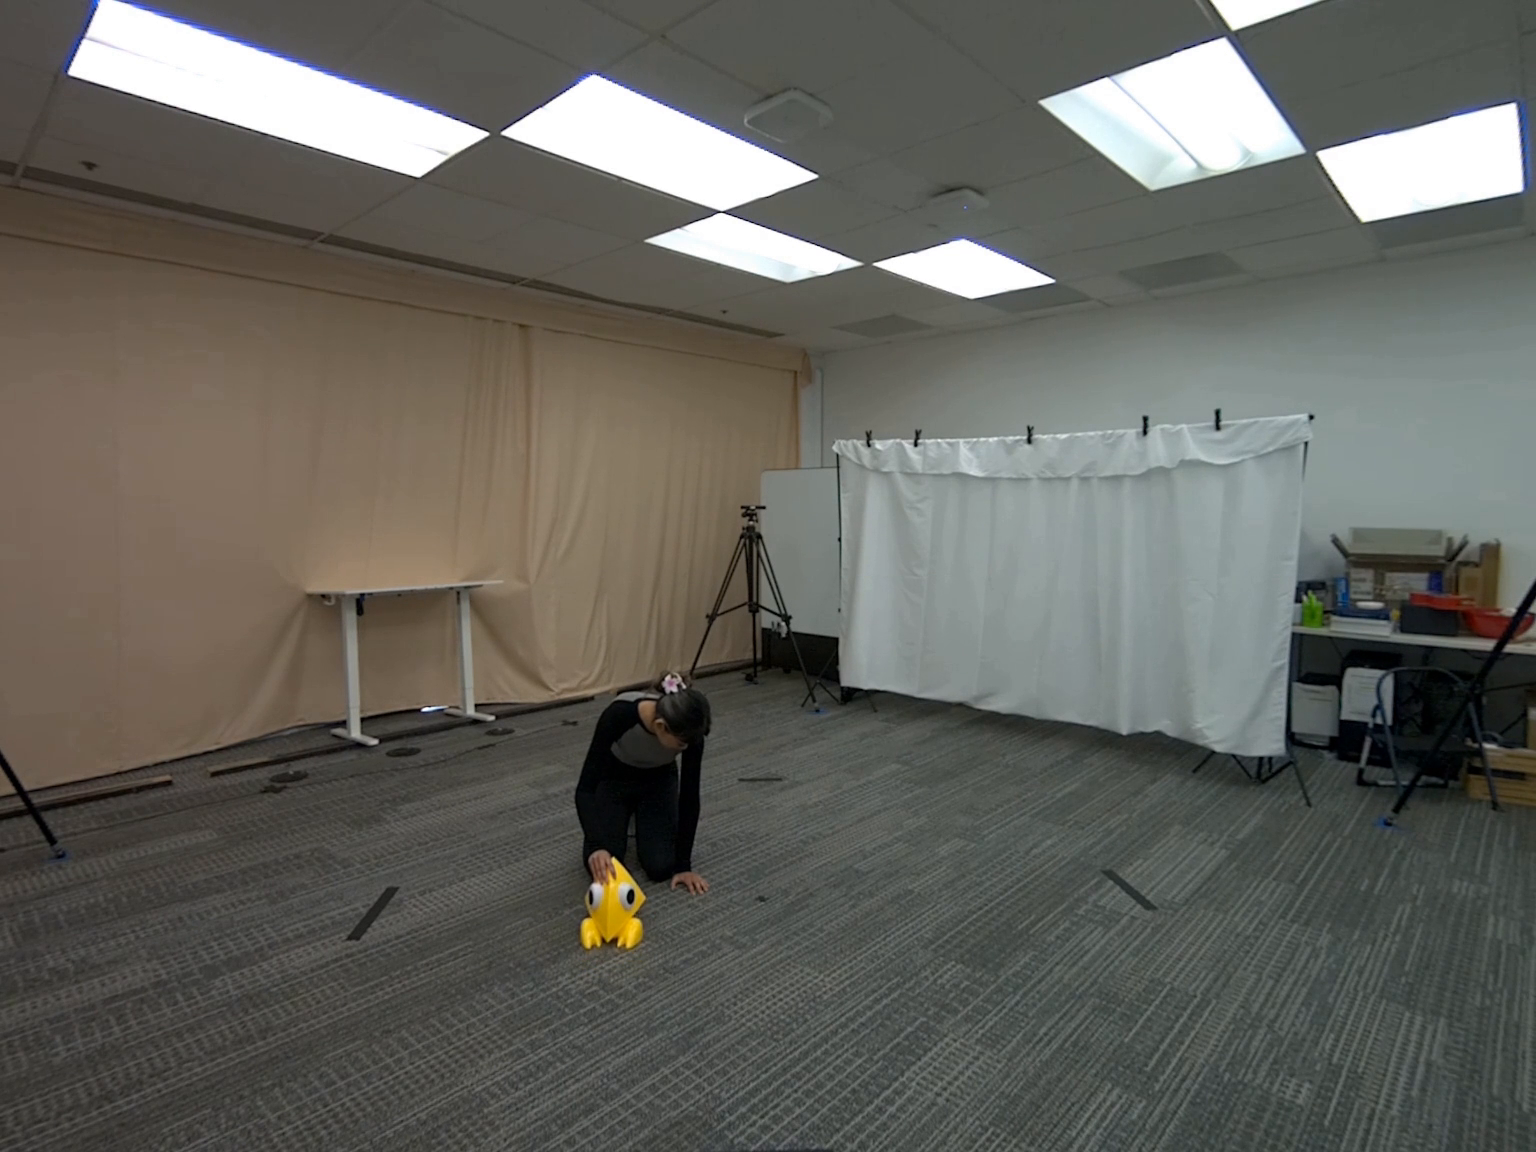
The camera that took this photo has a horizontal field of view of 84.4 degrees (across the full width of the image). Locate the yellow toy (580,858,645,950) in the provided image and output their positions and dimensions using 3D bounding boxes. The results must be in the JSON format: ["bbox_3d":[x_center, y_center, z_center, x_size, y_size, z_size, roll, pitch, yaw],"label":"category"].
[{"bbox_3d":[-0.507,1.049,2.735,0.205,0.230,0.193,0,3,-1],"label":"yellow toy"}]
